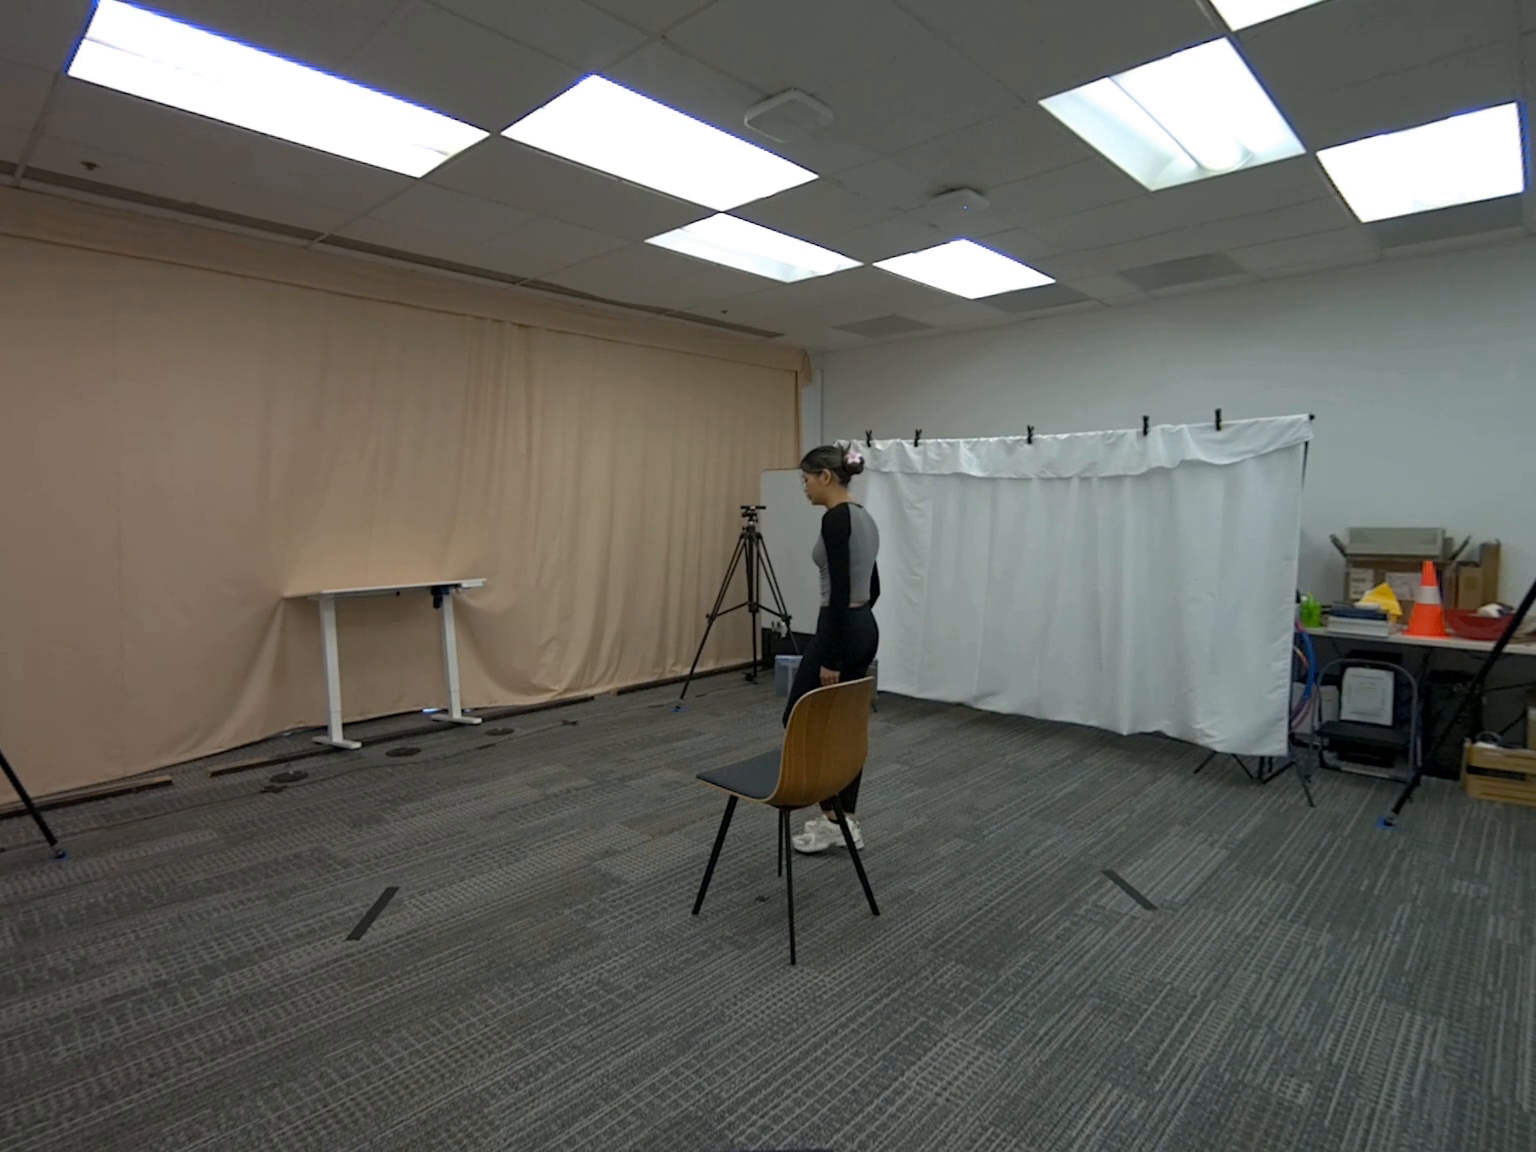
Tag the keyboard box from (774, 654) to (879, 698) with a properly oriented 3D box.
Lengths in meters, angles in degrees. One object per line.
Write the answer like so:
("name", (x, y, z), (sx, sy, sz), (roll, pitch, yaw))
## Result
("keyboard box", (0.253, 0.433, 3.639), (0.440, 0.175, 0.059), (1, 5, 6))
